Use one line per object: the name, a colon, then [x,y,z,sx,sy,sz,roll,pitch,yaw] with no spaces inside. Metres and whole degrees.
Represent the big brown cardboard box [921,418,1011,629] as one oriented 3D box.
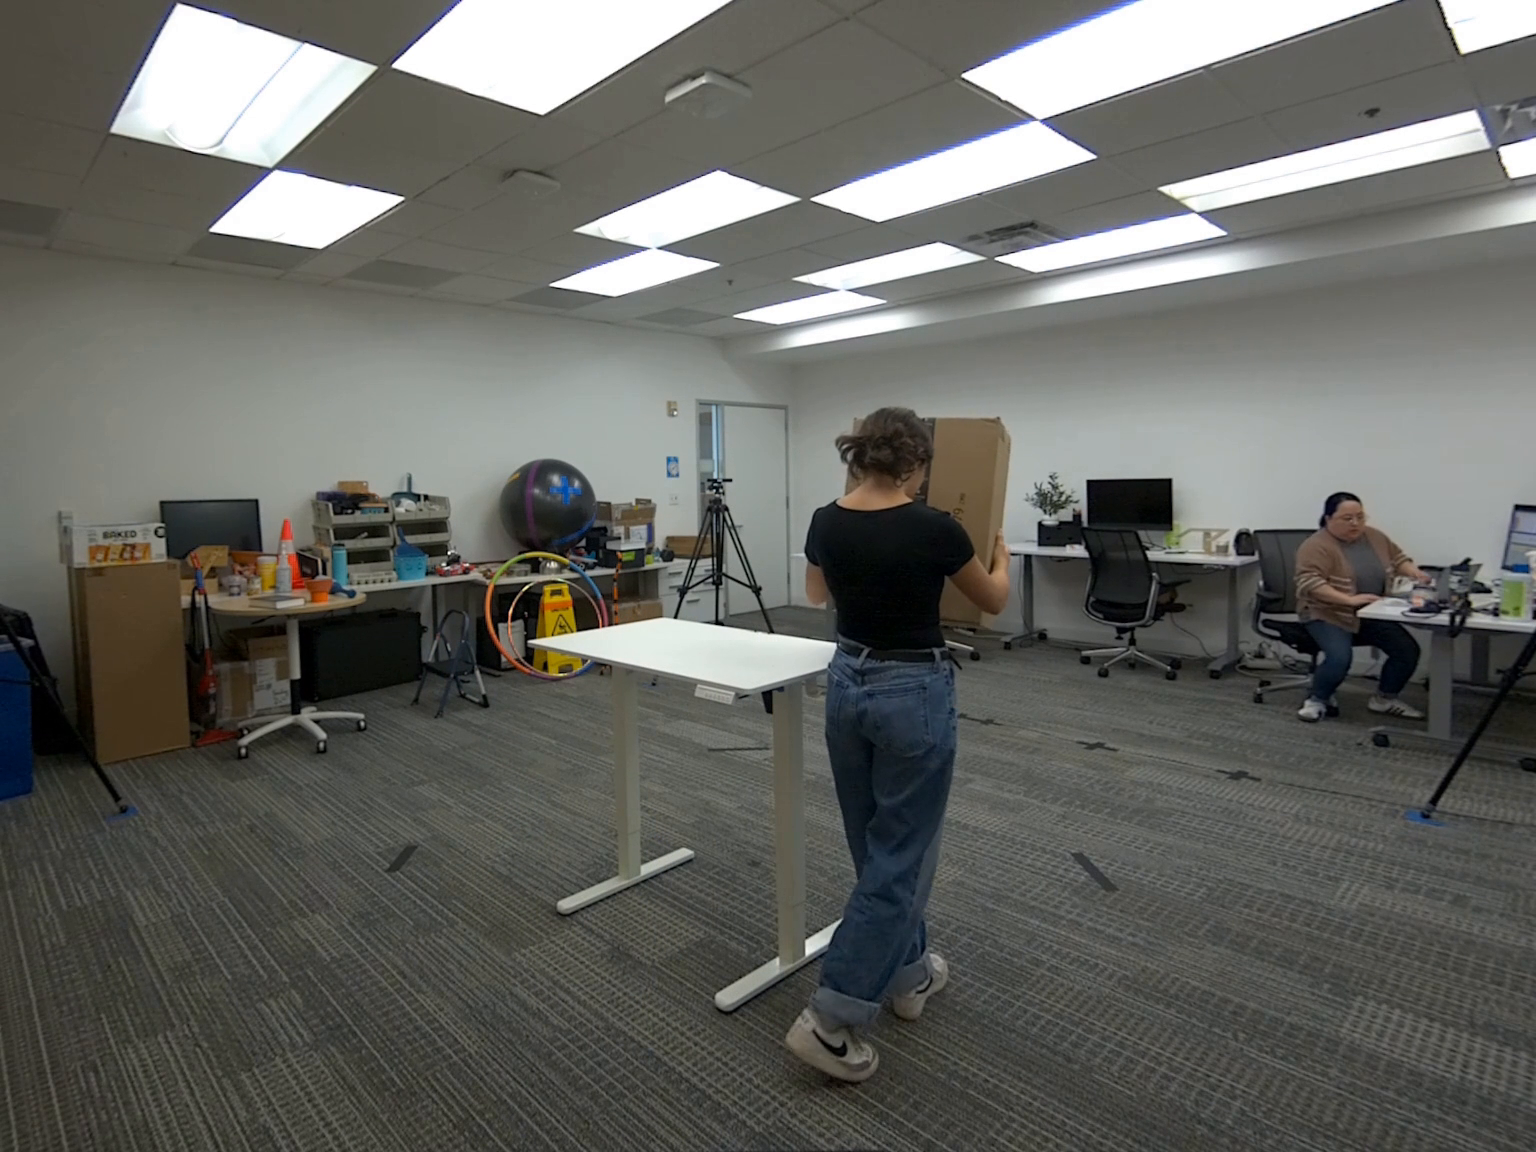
big brown cardboard box: [0.454,-0.157,2.452,0.428,0.592,0.226,5,-8,25]
